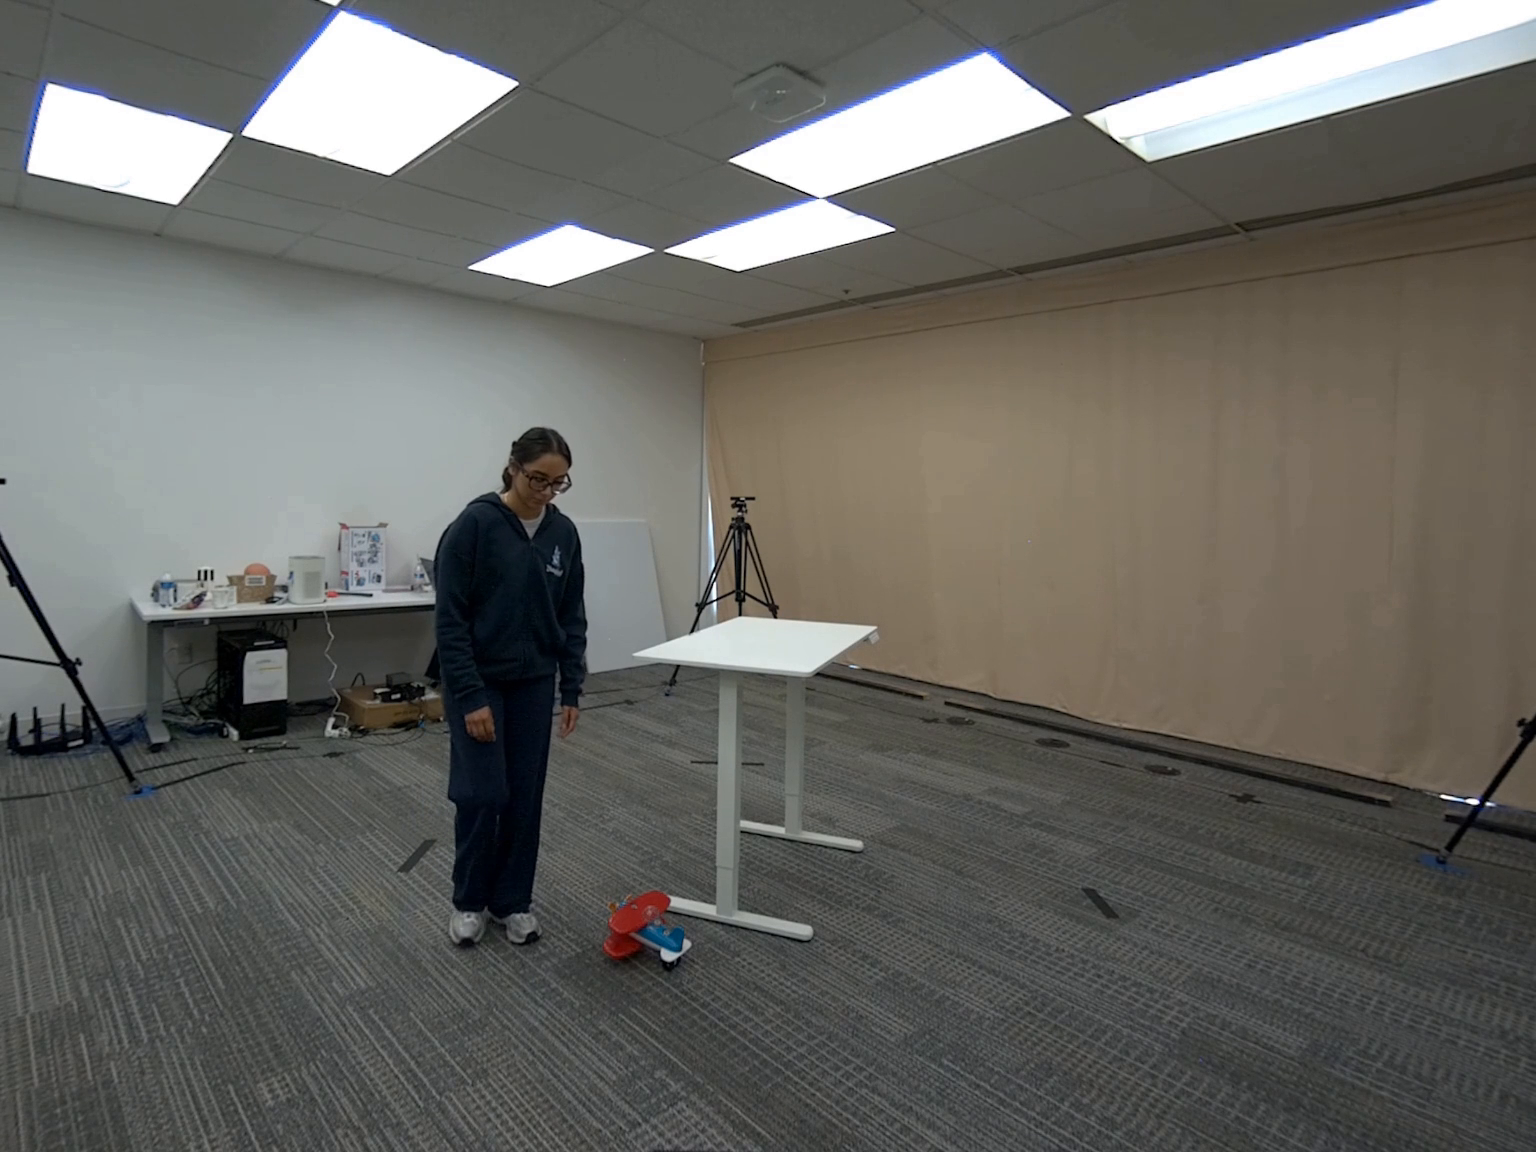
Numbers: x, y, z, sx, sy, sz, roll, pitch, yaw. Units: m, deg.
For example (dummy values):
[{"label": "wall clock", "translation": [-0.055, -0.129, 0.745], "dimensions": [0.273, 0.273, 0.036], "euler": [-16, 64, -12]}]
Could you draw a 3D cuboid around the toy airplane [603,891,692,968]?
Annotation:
[{"label": "toy airplane", "translation": [-0.363, 1.080, 2.547], "dimensions": [0.260, 0.156, 0.251], "euler": [0, 4, 2]}]
